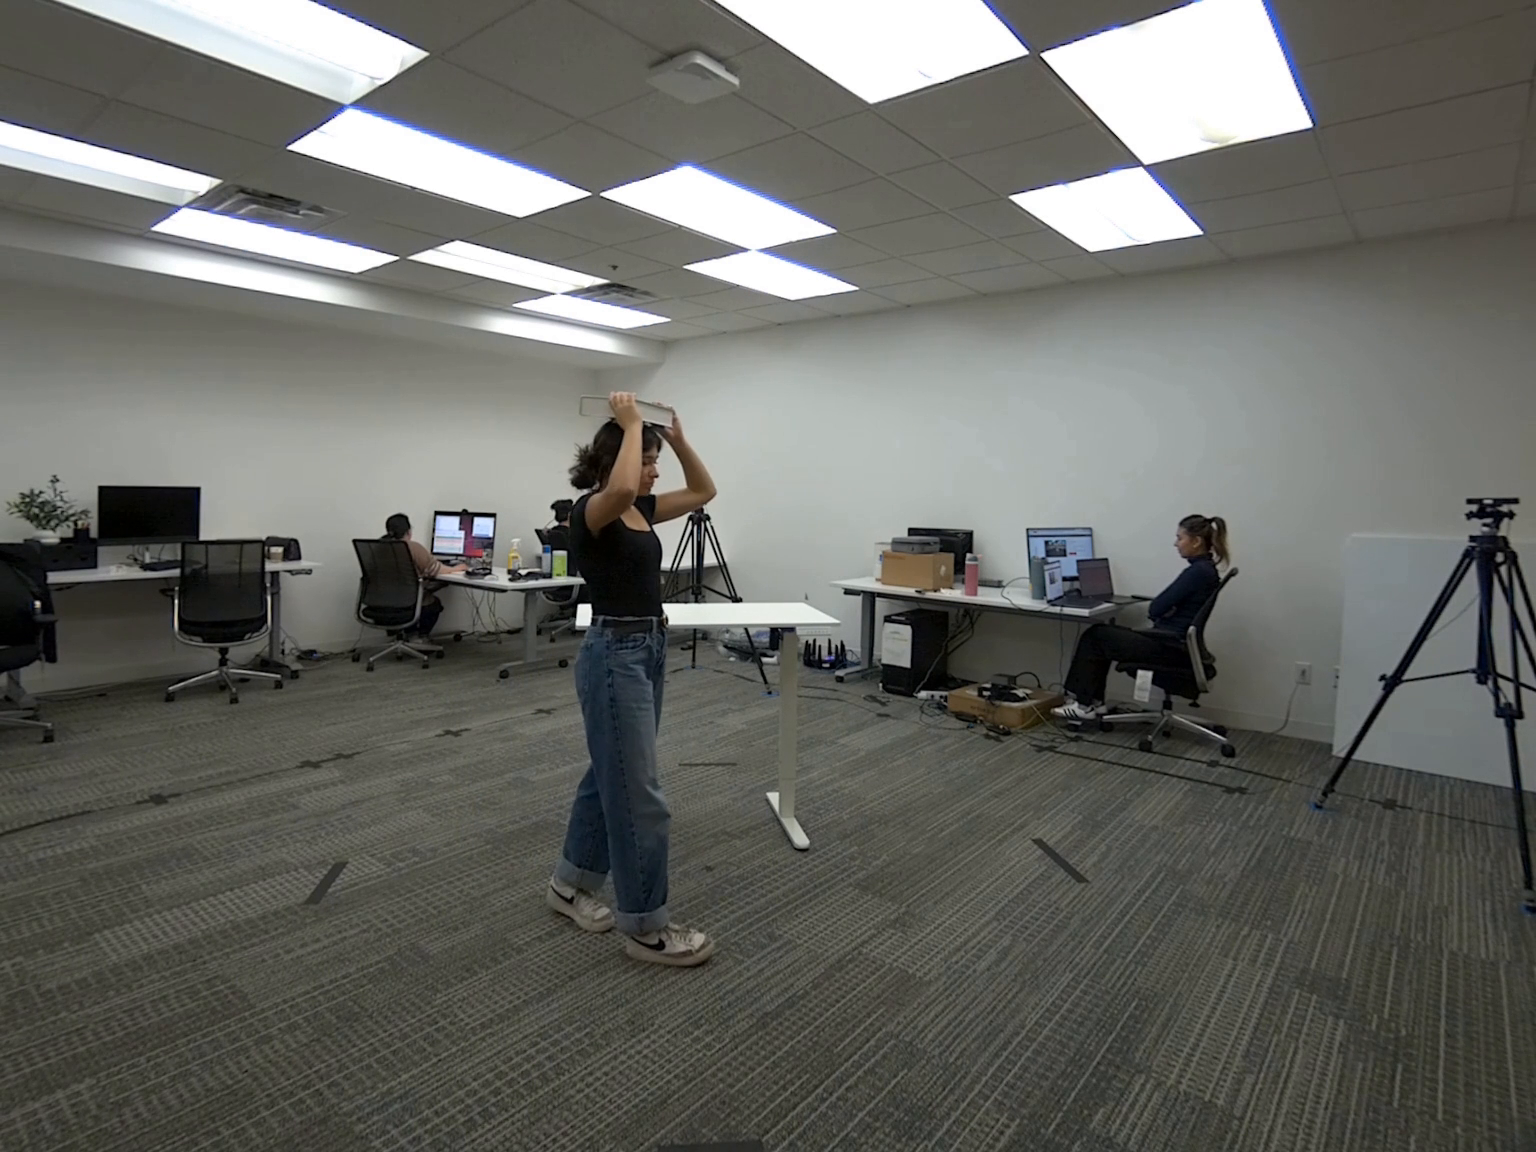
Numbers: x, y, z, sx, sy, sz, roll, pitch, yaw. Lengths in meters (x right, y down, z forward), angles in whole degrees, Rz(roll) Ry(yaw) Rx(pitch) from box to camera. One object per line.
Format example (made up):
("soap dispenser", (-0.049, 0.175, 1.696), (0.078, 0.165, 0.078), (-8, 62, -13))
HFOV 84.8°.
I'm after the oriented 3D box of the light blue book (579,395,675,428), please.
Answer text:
("light blue book", (-0.436, -0.496, 2.560), (0.195, 0.059, 0.256), (4, 4, 18))
